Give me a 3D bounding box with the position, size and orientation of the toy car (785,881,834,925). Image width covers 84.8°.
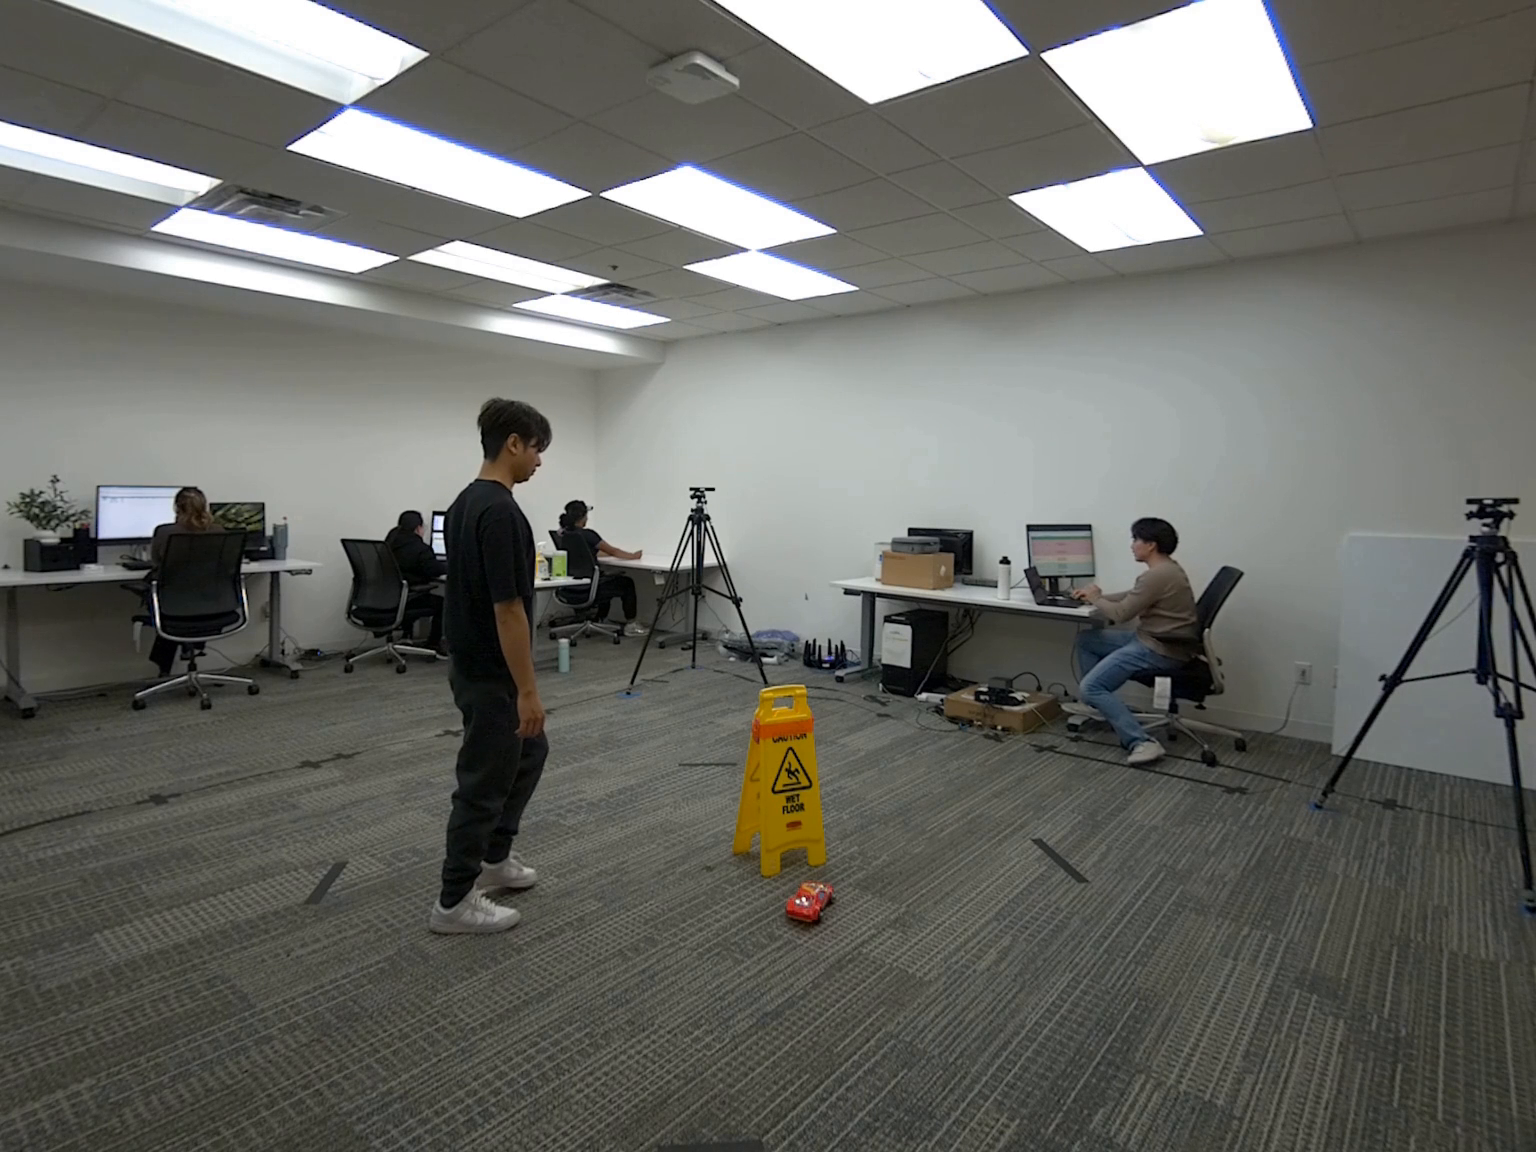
[{"bbox_3d":[0.136,1.077,2.805,0.133,0.083,0.247,6,-4,21],"label":"toy car"}]
